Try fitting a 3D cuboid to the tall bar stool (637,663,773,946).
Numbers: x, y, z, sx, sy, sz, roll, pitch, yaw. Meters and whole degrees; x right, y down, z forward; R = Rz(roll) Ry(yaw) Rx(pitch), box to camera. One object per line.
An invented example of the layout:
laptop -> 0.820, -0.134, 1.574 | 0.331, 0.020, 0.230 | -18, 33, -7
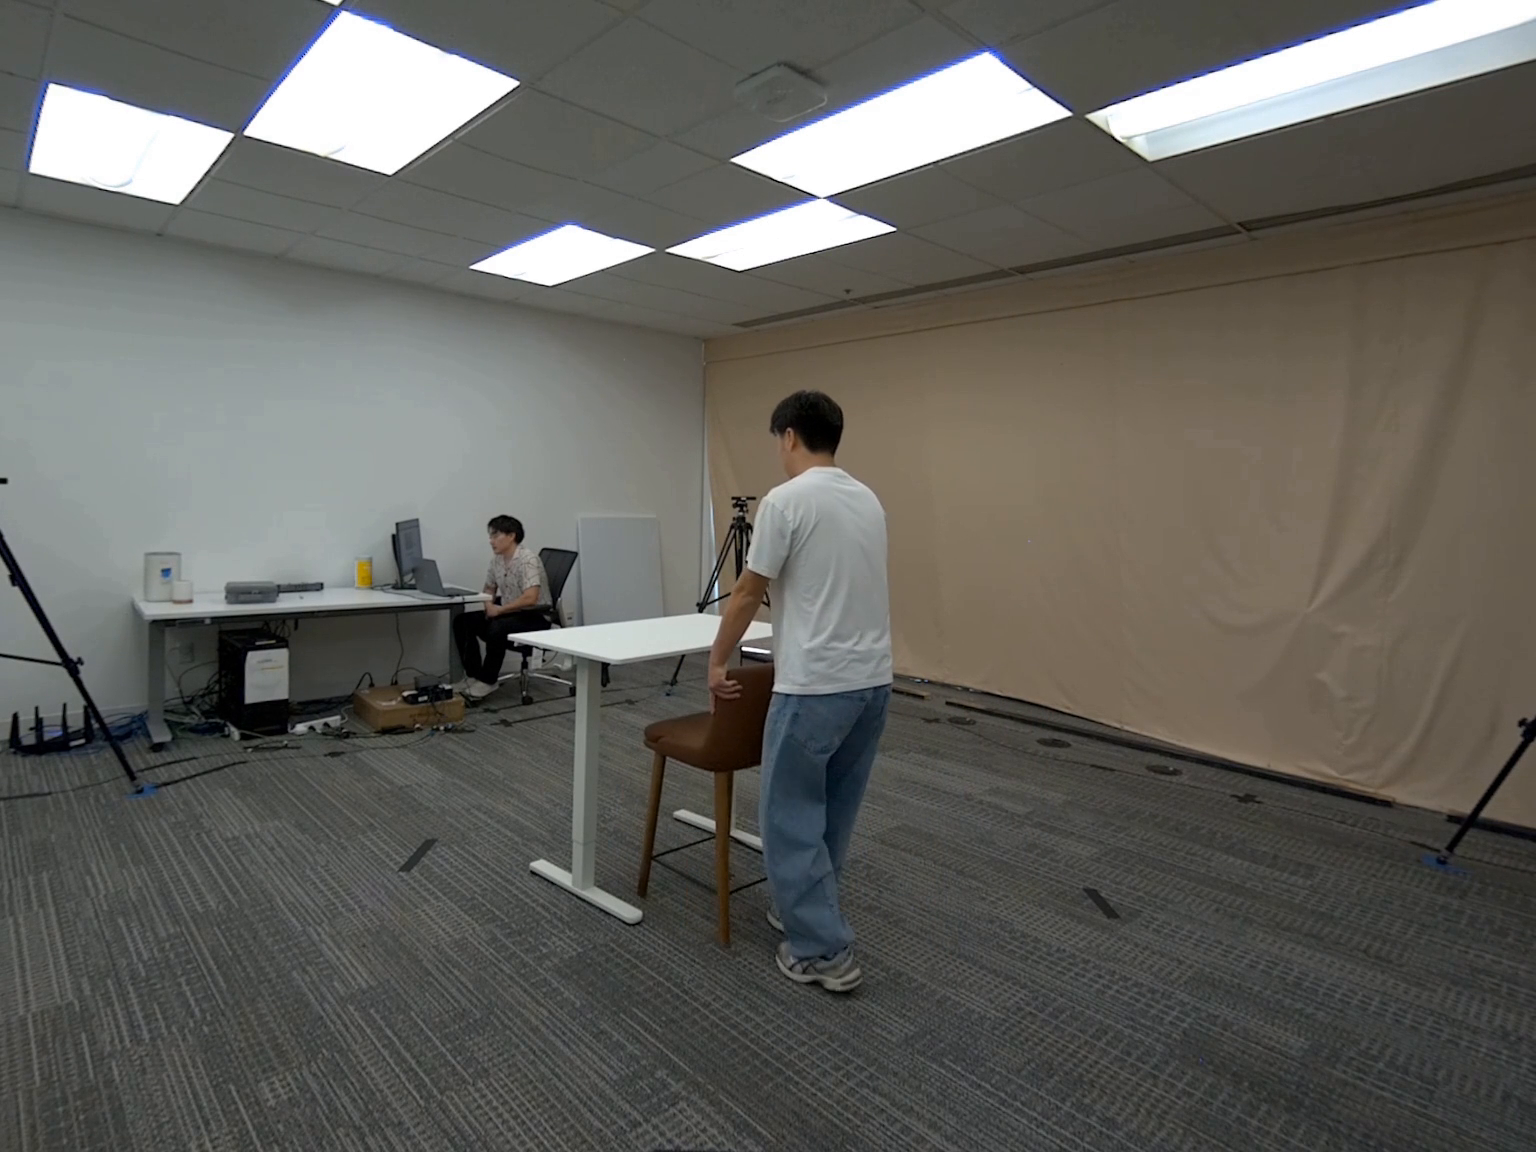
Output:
tall bar stool -> -0.143, 0.687, 2.857 | 0.446, 0.886, 0.480 | -2, 7, -42
